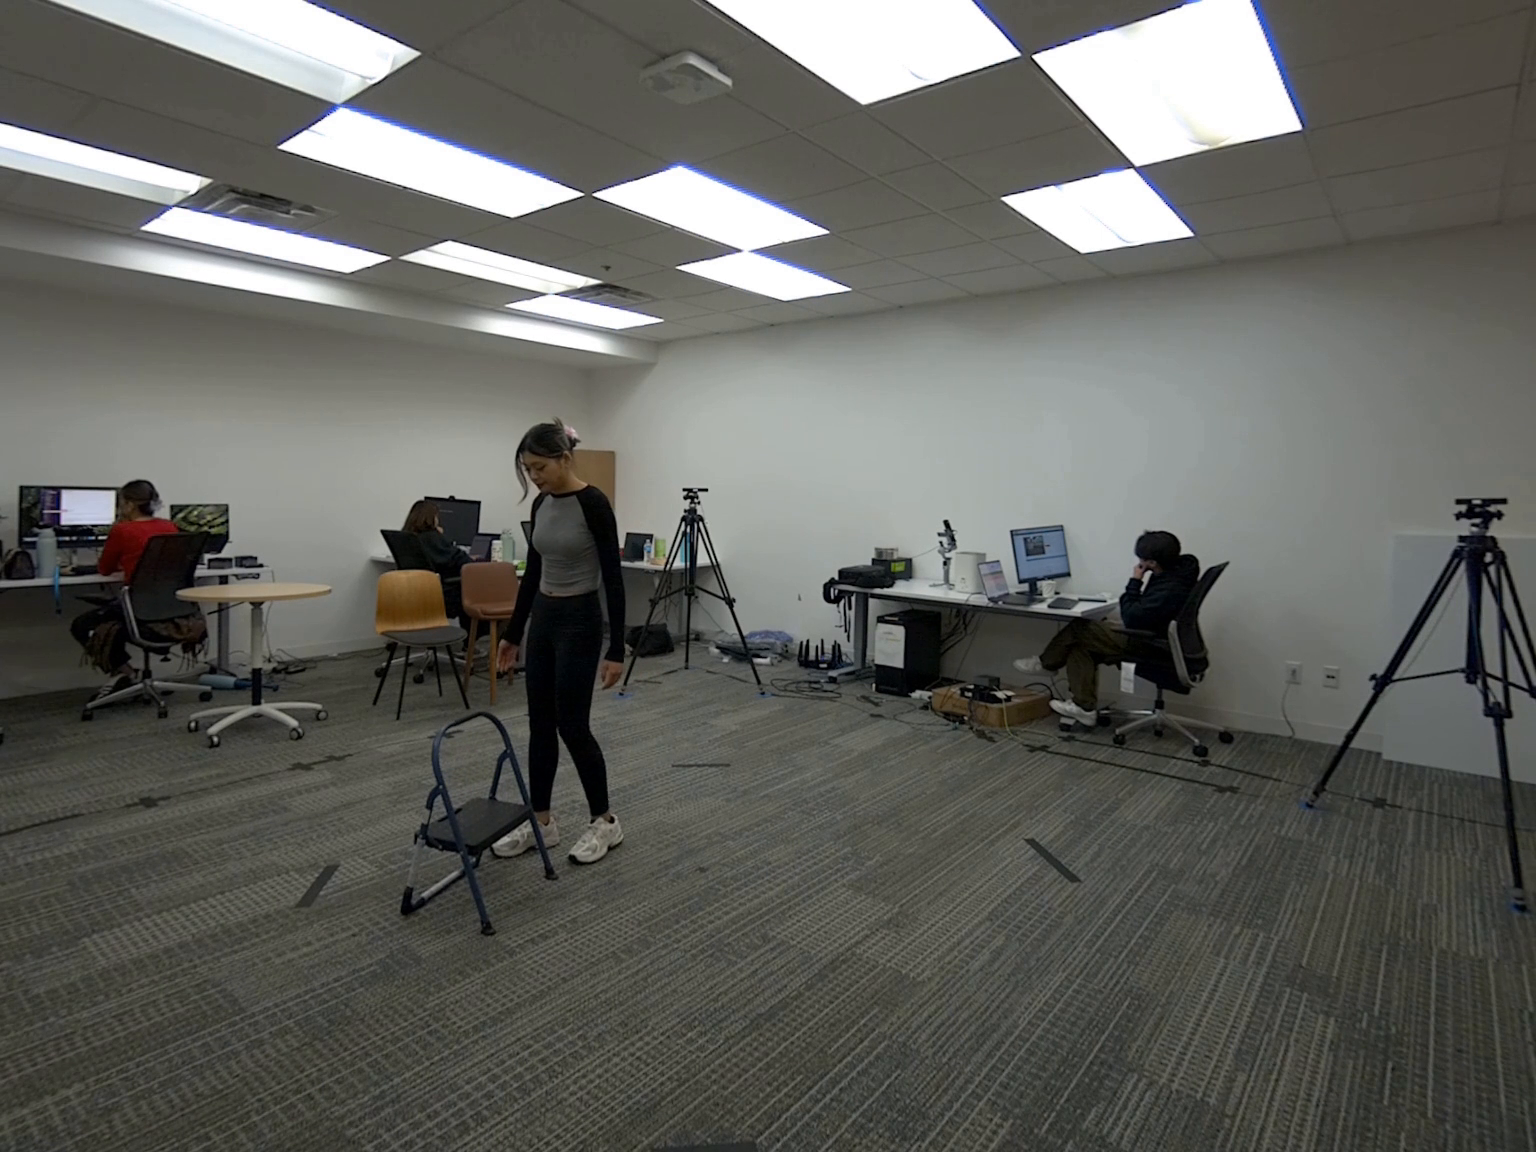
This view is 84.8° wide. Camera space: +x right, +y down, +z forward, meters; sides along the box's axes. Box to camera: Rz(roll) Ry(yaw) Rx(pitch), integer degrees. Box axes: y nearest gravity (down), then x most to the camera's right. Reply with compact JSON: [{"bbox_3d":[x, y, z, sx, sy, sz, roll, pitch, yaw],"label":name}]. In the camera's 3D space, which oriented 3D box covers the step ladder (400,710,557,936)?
[{"bbox_3d":[-0.971,0.781,2.861,0.356,0.604,0.424,2,4,16],"label":"step ladder"}]
